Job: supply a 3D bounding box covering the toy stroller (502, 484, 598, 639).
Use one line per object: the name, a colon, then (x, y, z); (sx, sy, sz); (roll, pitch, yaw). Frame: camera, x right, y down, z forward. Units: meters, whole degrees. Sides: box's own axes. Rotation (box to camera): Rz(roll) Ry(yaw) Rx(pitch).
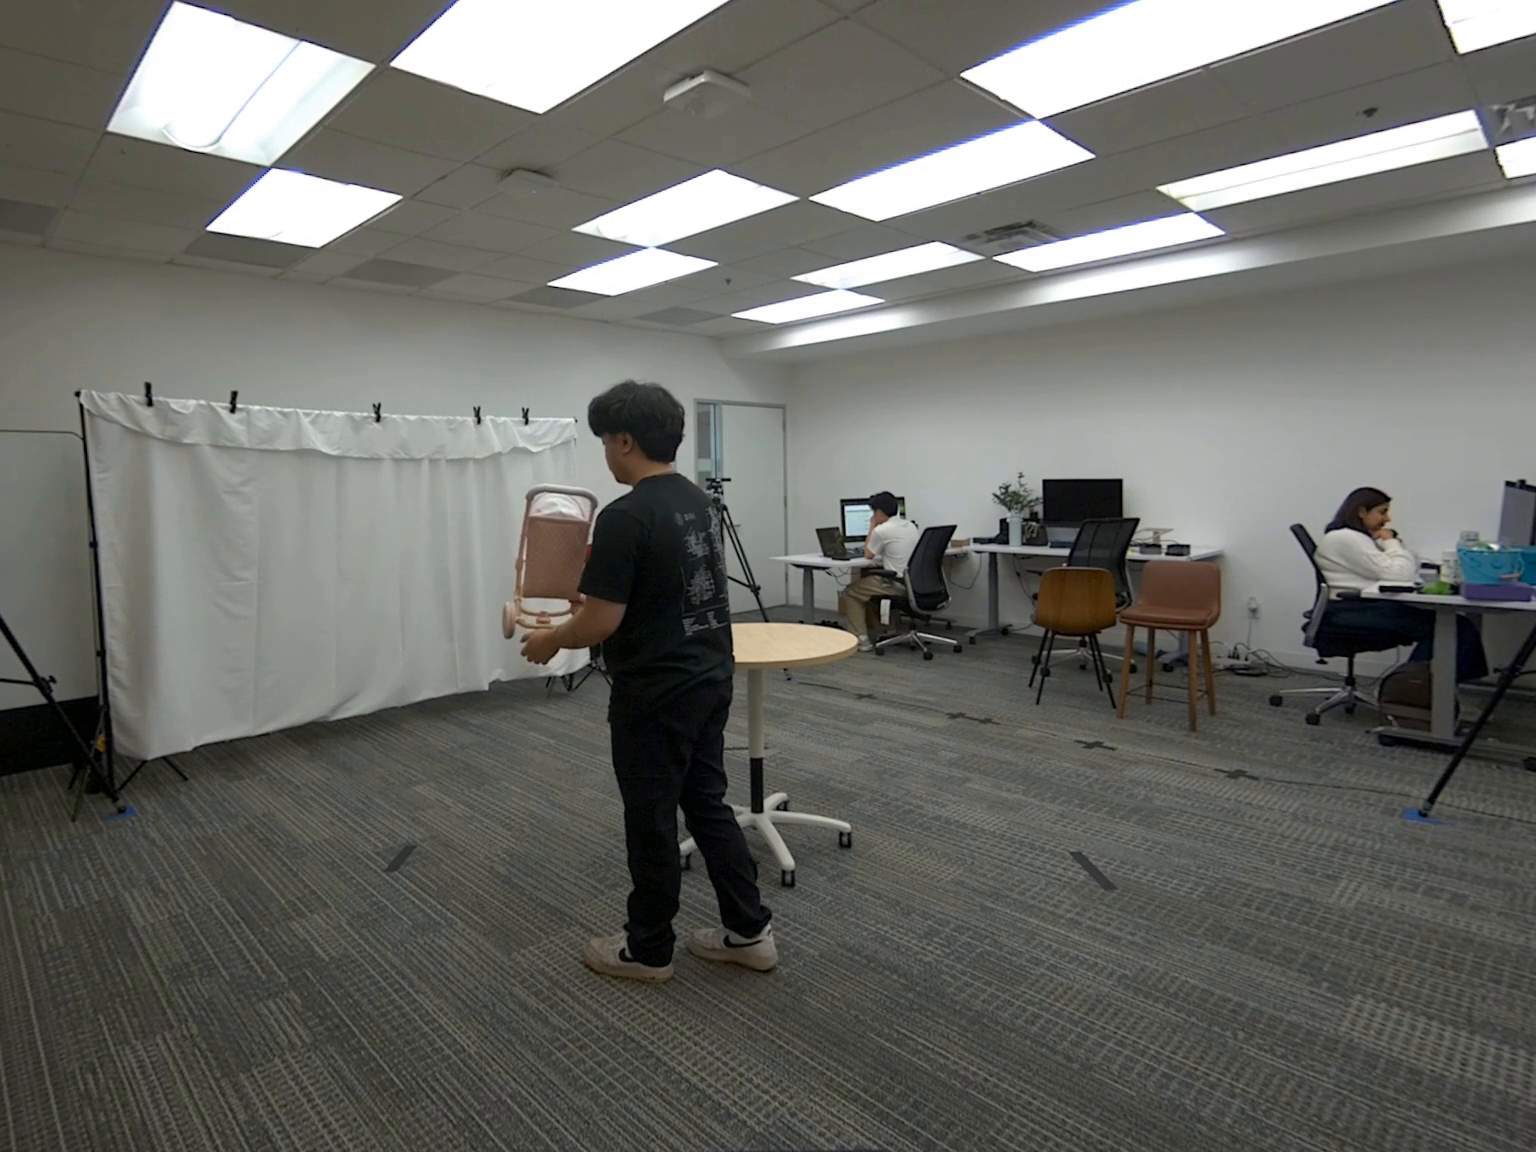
toy stroller: (-0.663, -0.027, 2.640); (0.277, 0.532, 0.348); (4, 8, -15)
